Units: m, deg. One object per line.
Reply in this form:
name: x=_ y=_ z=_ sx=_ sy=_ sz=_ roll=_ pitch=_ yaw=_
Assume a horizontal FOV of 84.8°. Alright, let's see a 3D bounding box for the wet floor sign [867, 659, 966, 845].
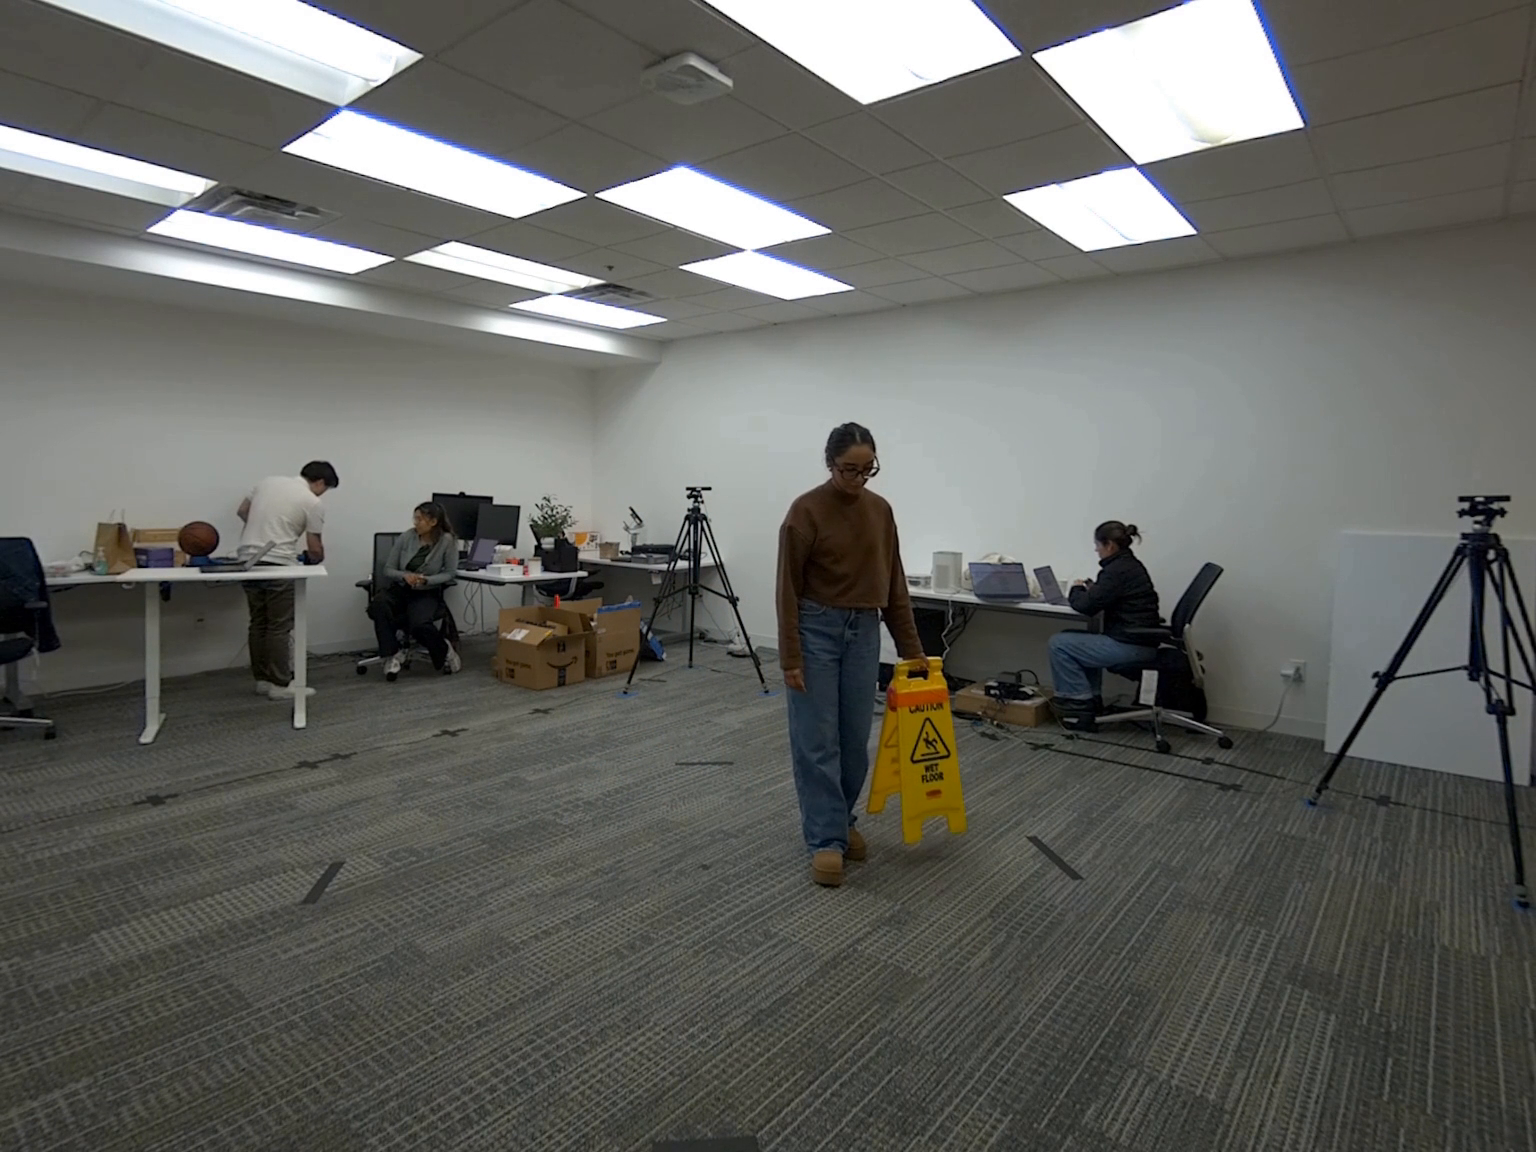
wet floor sign: x=0.562 y=0.635 z=3.259 sx=0.276 sy=0.642 sz=0.297 roll=-2 pitch=7 yaw=-22
